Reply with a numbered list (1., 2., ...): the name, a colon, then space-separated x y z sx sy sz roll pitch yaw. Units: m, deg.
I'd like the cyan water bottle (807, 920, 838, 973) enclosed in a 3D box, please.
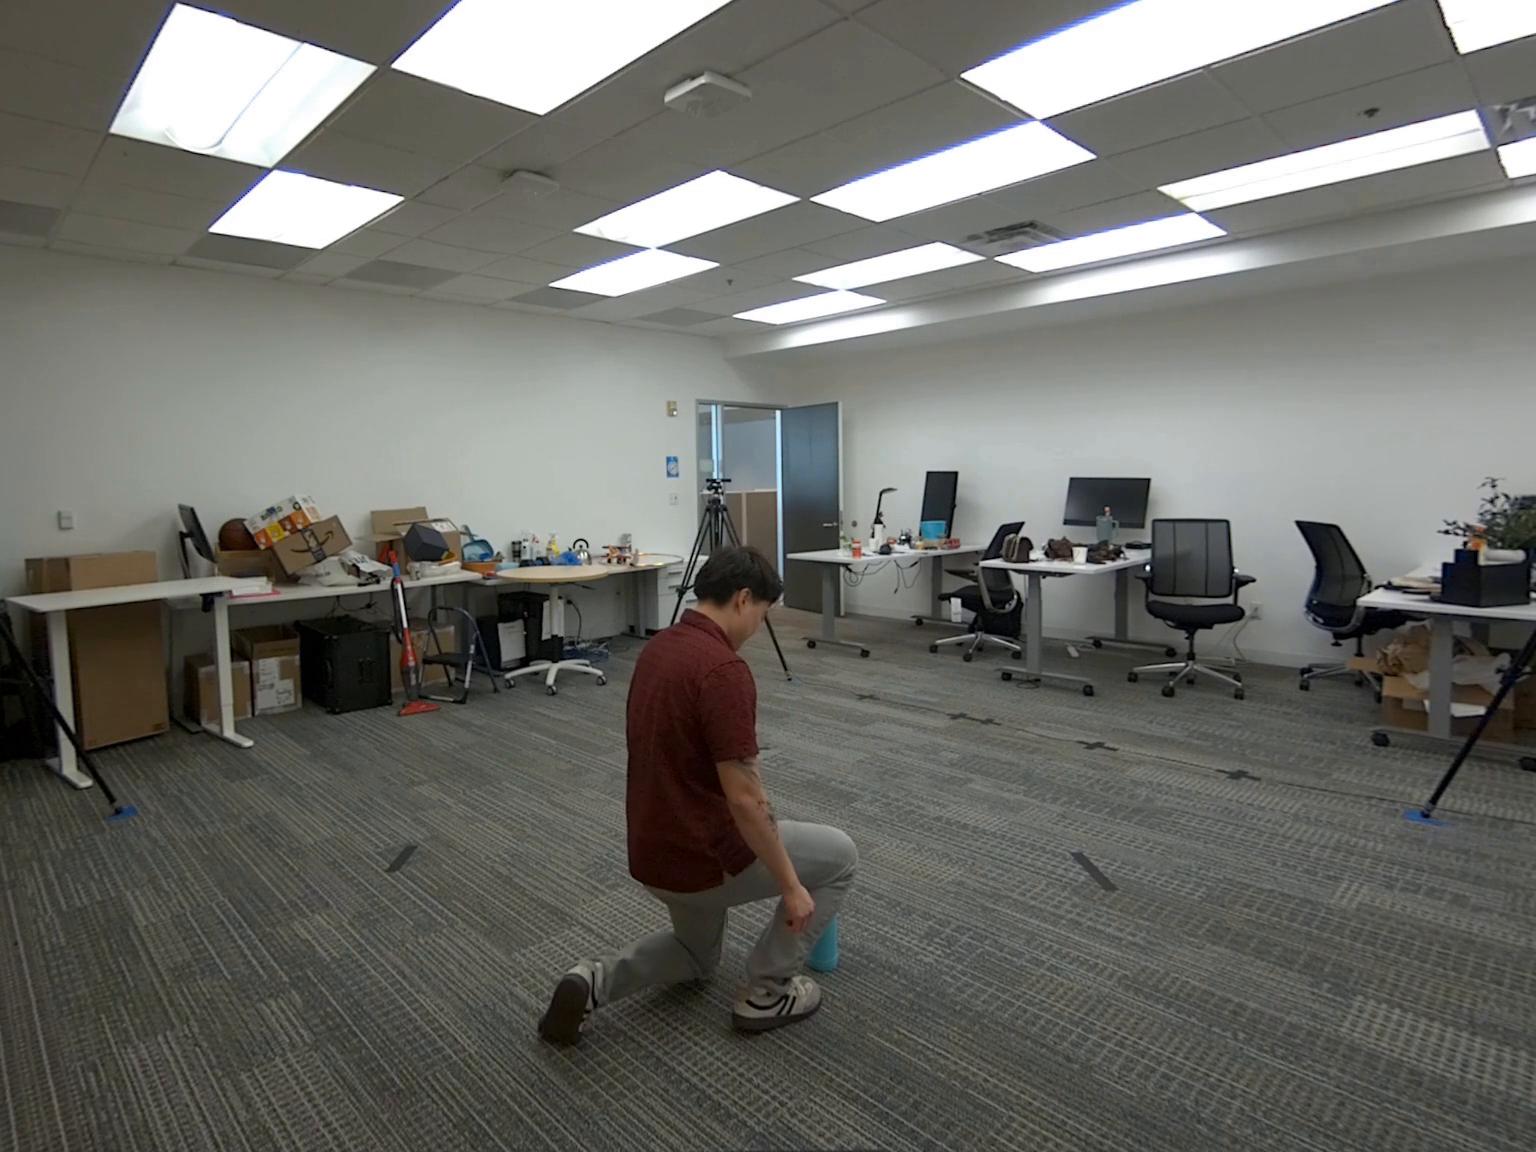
1. cyan water bottle: 0.167 0.982 2.446 0.092 0.282 0.093 -2 3 -2
